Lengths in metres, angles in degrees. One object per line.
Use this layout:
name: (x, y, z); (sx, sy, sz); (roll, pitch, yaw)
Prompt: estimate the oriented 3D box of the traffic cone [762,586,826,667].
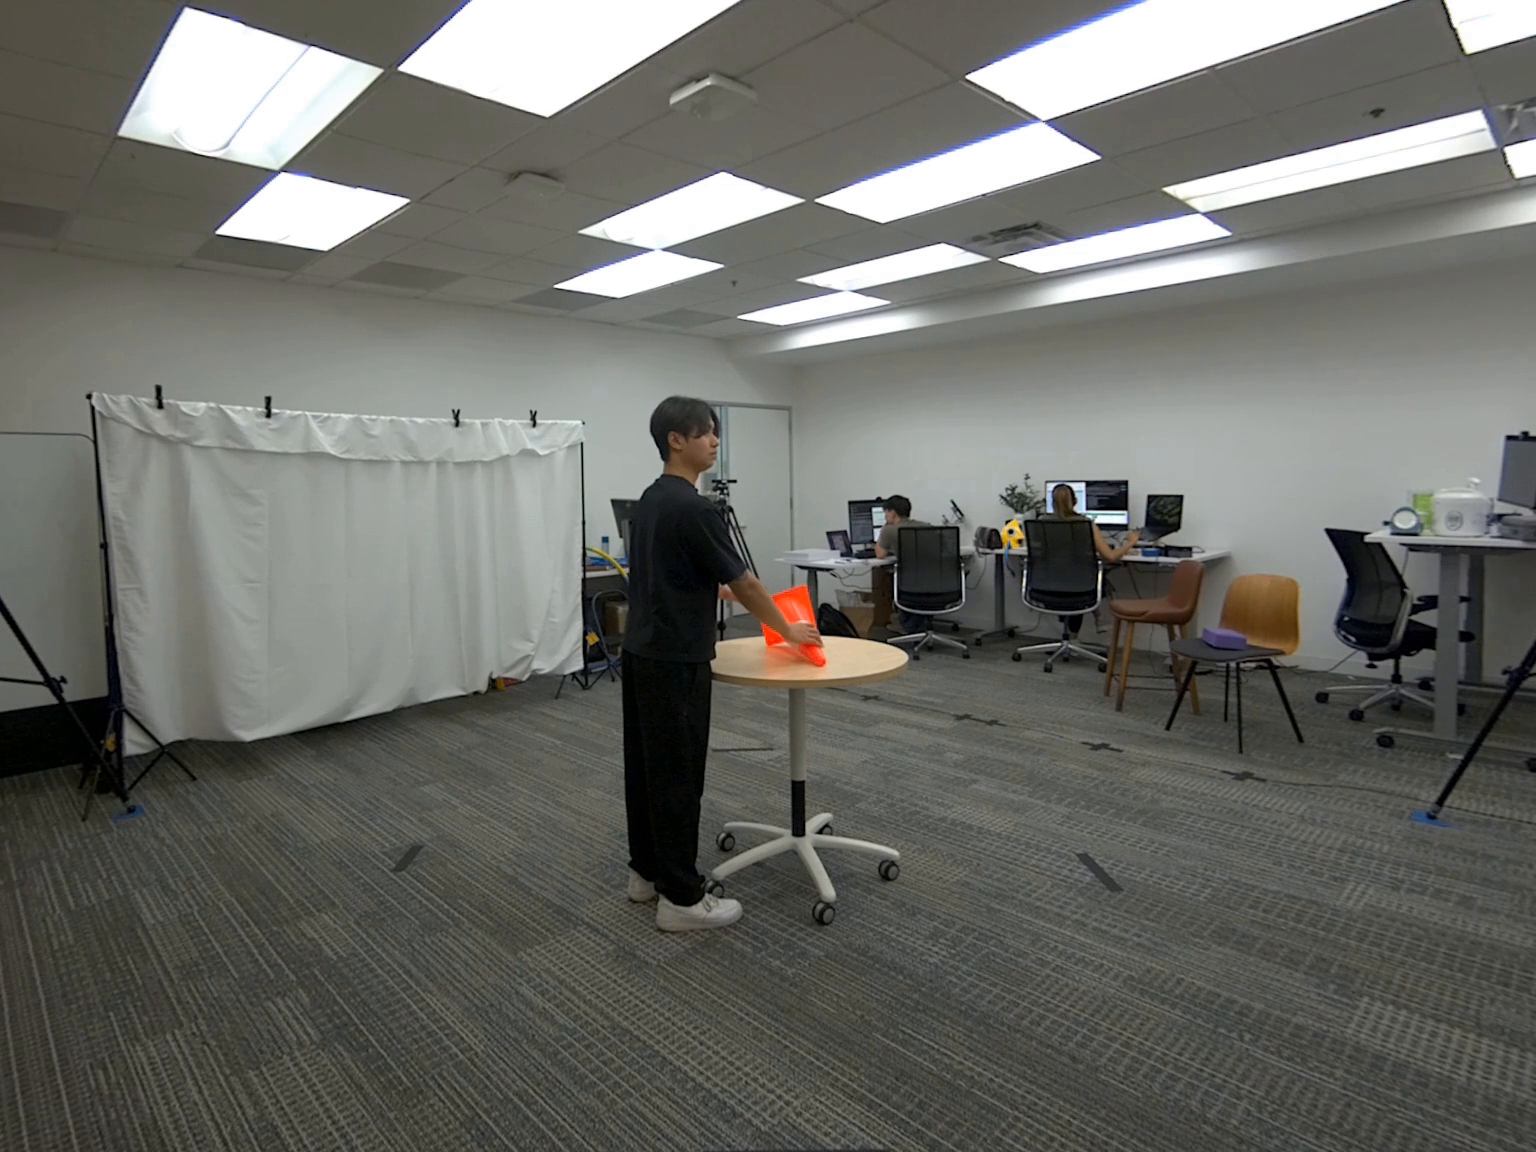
traffic cone: (0.127, 0.219, 2.951); (0.204, 0.199, 0.395); (-16, 24, -9)
